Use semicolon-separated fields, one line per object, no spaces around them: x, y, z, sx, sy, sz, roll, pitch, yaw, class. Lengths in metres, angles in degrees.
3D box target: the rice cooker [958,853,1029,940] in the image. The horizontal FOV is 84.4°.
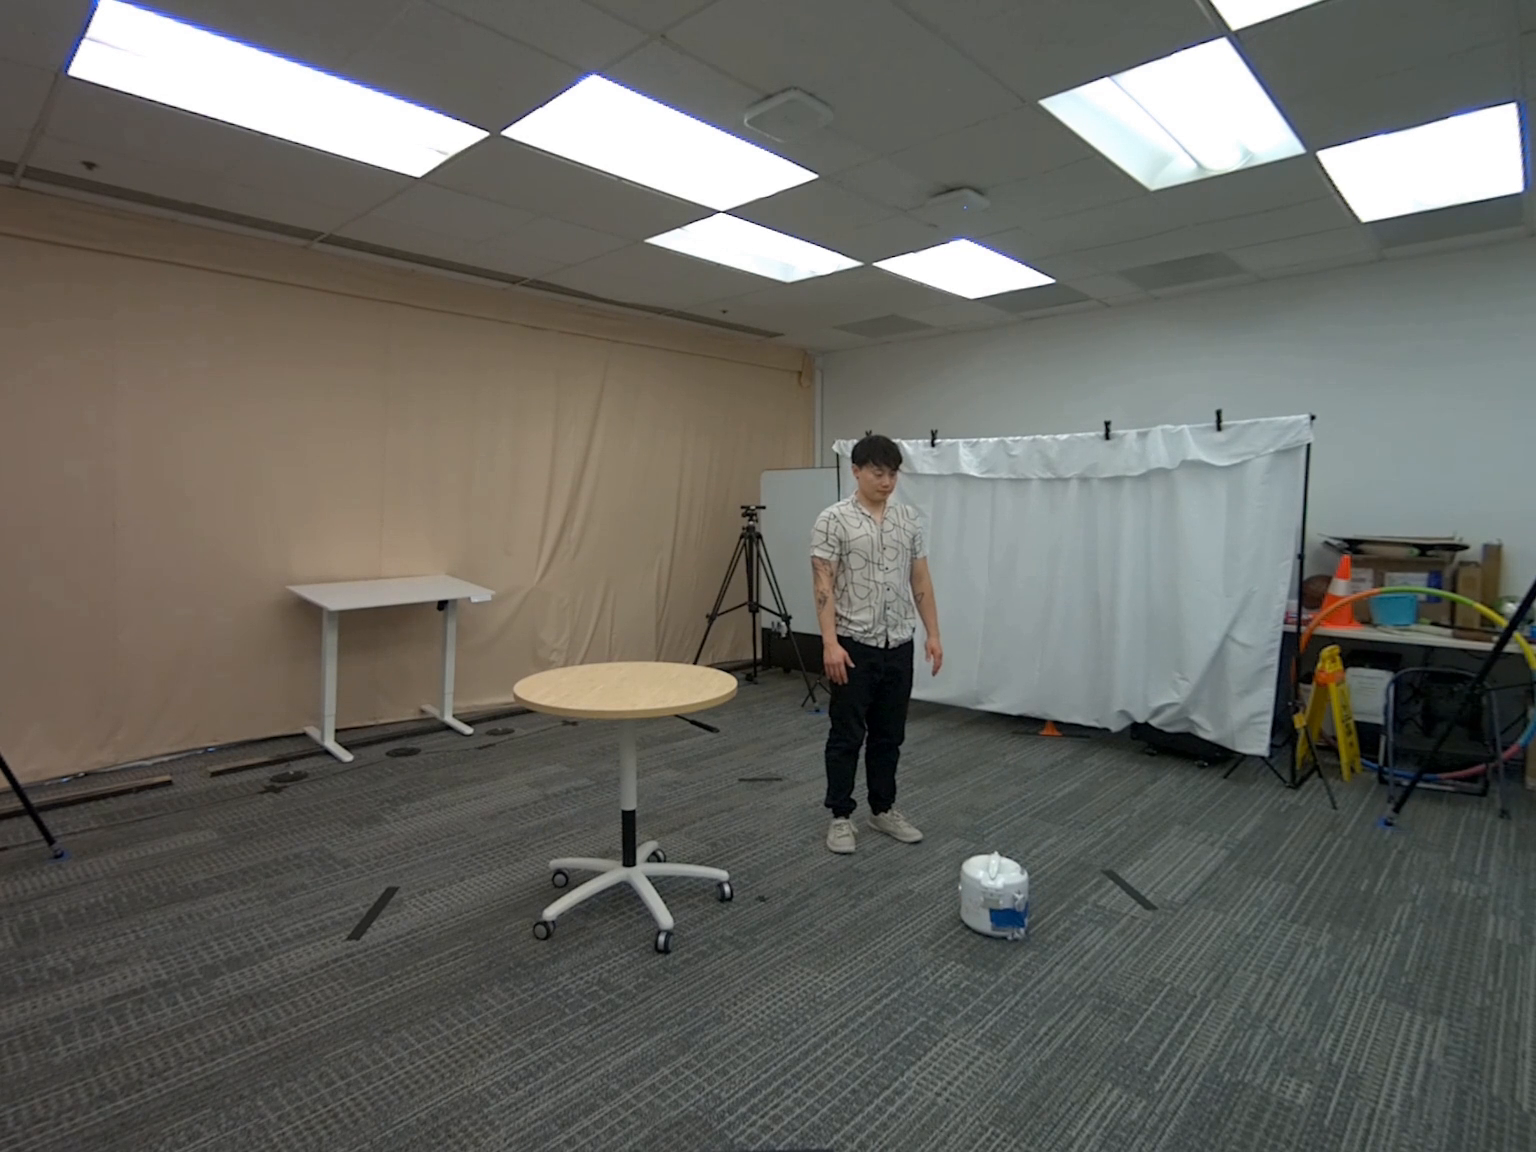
0.741;1.035;2.781;0.222;0.232;0.216;2;5;21;rice cooker
